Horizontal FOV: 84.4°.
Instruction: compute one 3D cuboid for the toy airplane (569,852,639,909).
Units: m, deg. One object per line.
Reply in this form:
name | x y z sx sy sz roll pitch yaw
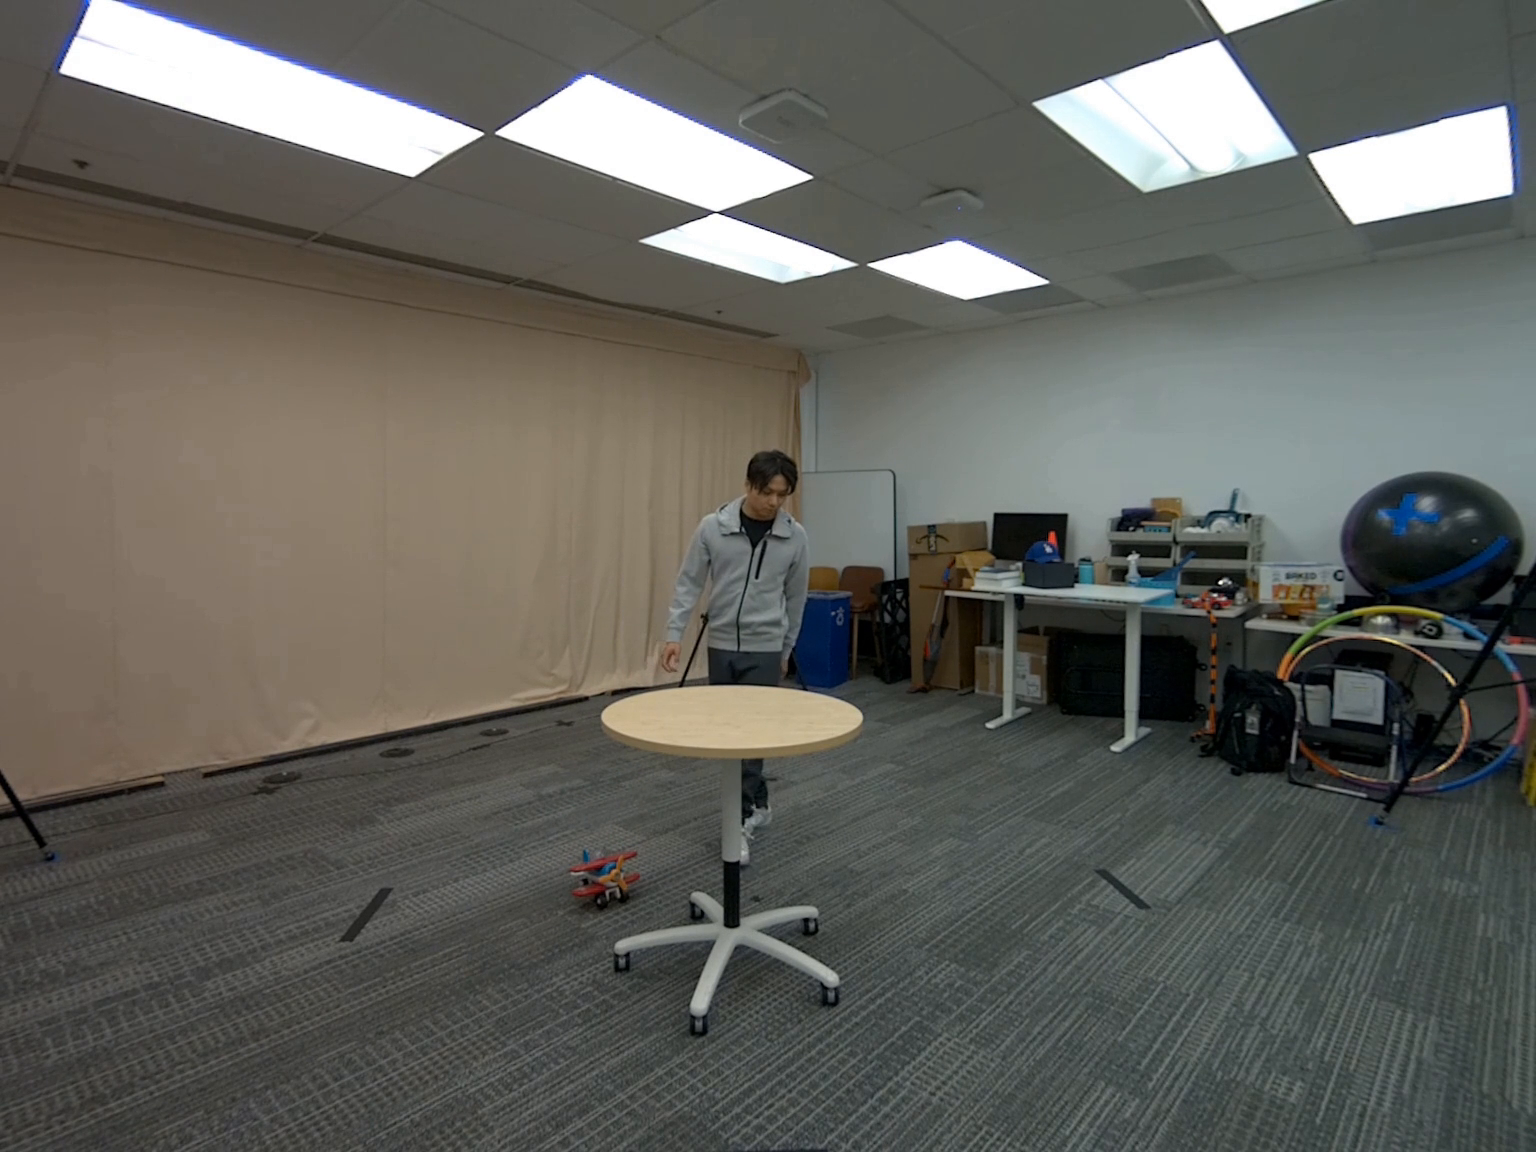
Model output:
toy airplane | -0.611 1.074 3.000 0.266 0.156 0.245 3 6 25
